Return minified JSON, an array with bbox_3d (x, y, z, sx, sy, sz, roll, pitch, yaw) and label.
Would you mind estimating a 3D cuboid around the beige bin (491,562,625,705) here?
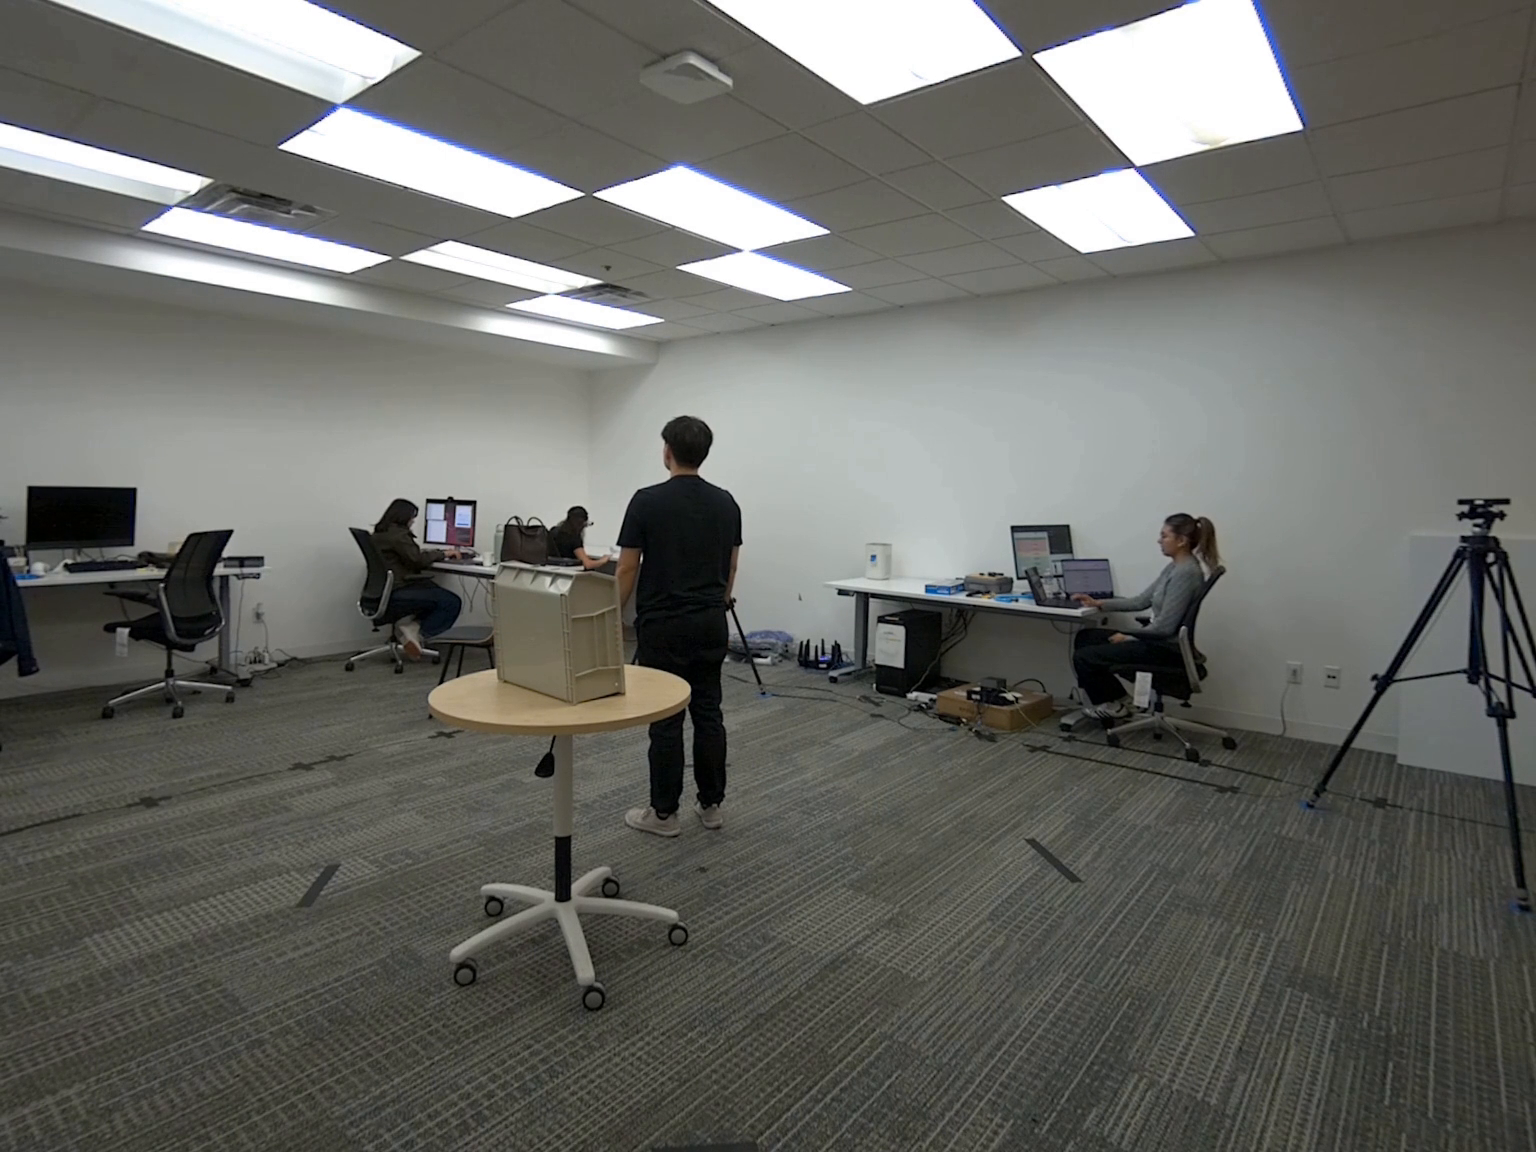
[{"bbox_3d":[-0.643,0.153,2.536,0.437,0.375,0.184,5,11,44],"label":"beige bin"}]
